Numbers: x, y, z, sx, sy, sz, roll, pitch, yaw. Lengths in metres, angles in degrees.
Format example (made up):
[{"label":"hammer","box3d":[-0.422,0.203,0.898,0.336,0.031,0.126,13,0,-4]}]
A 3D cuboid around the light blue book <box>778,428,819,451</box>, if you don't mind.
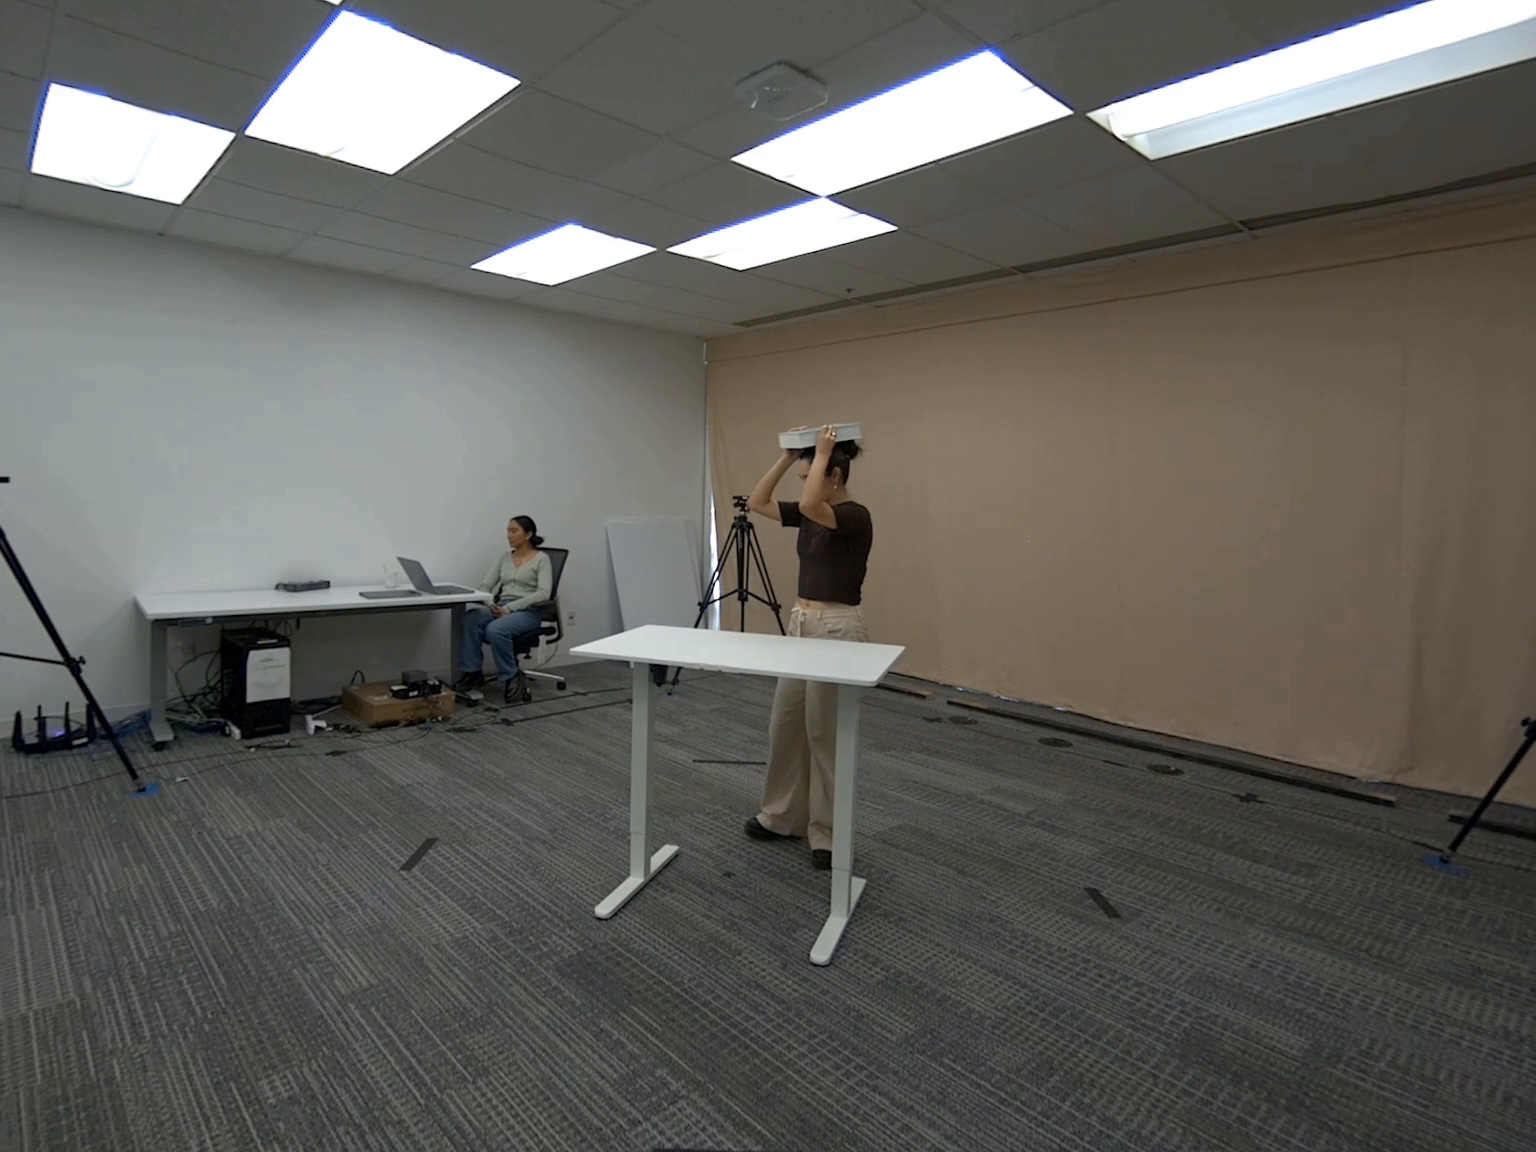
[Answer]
[{"label":"light blue book","box3d":[0.200,-0.541,3.242,0.258,0.058,0.195,-11,13,-17]}]
